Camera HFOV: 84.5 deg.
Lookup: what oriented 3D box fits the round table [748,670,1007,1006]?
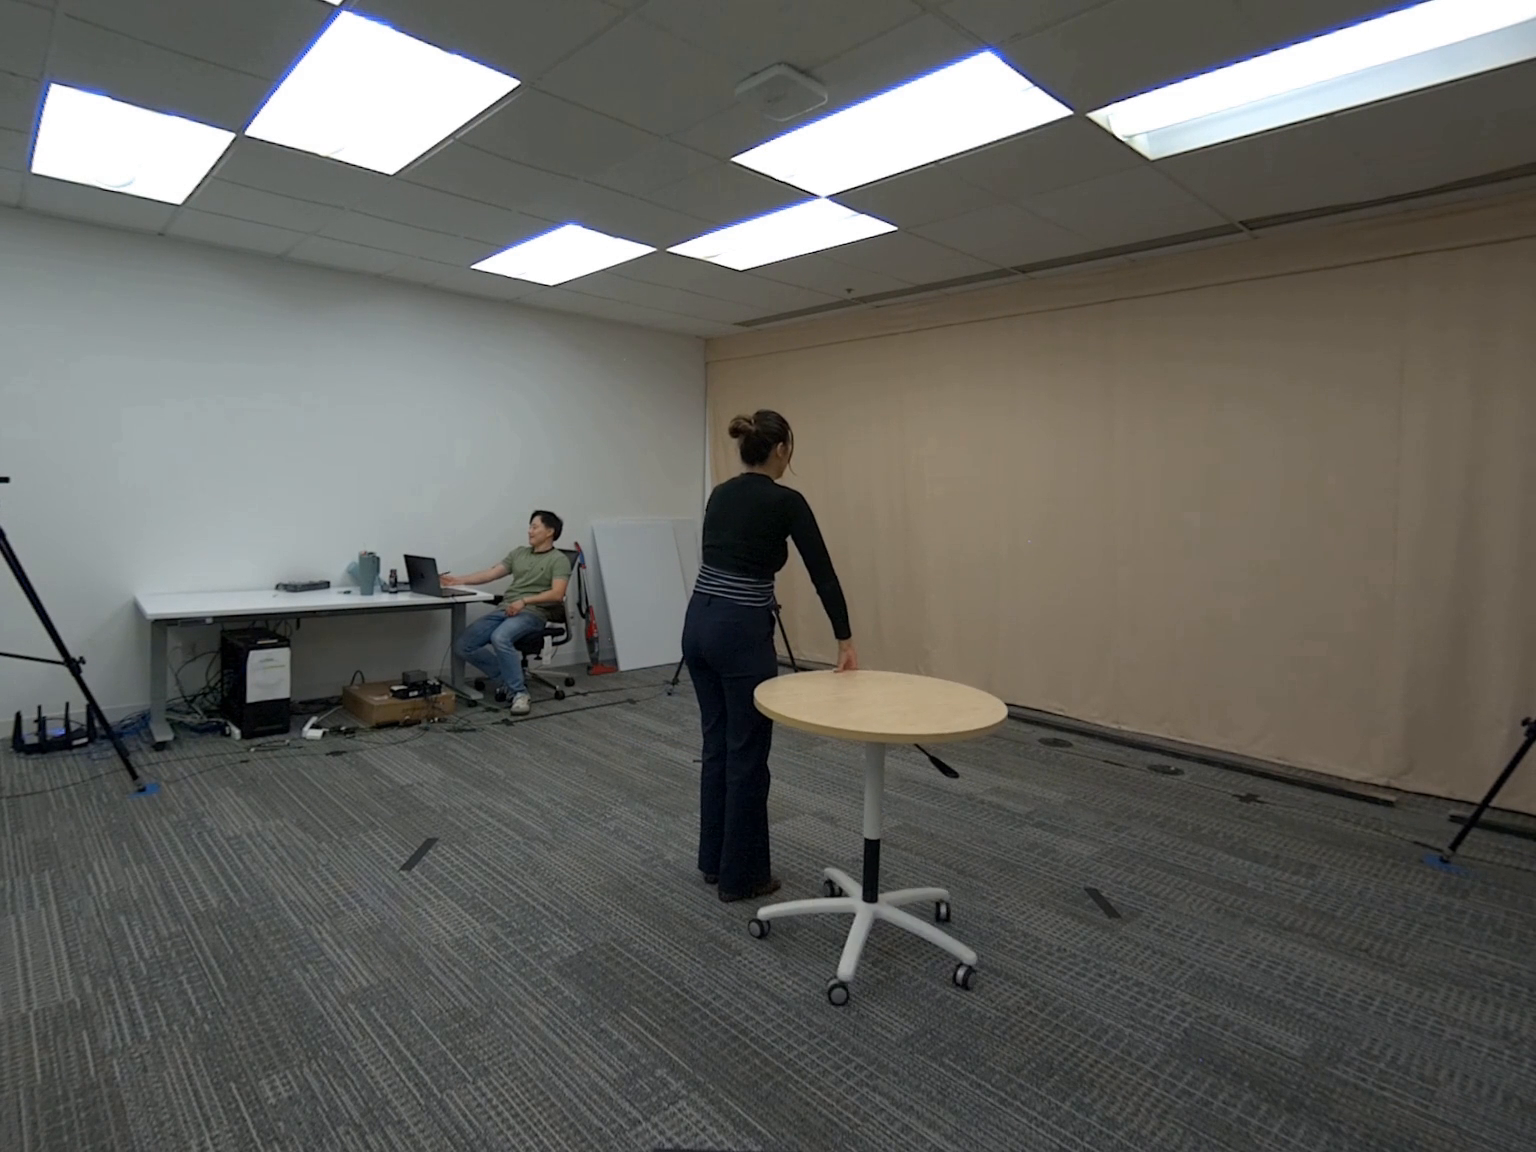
[{"bbox_3d":[0.319,0.768,2.625,0.763,0.791,0.767,2,5,-2],"label":"round table"}]
